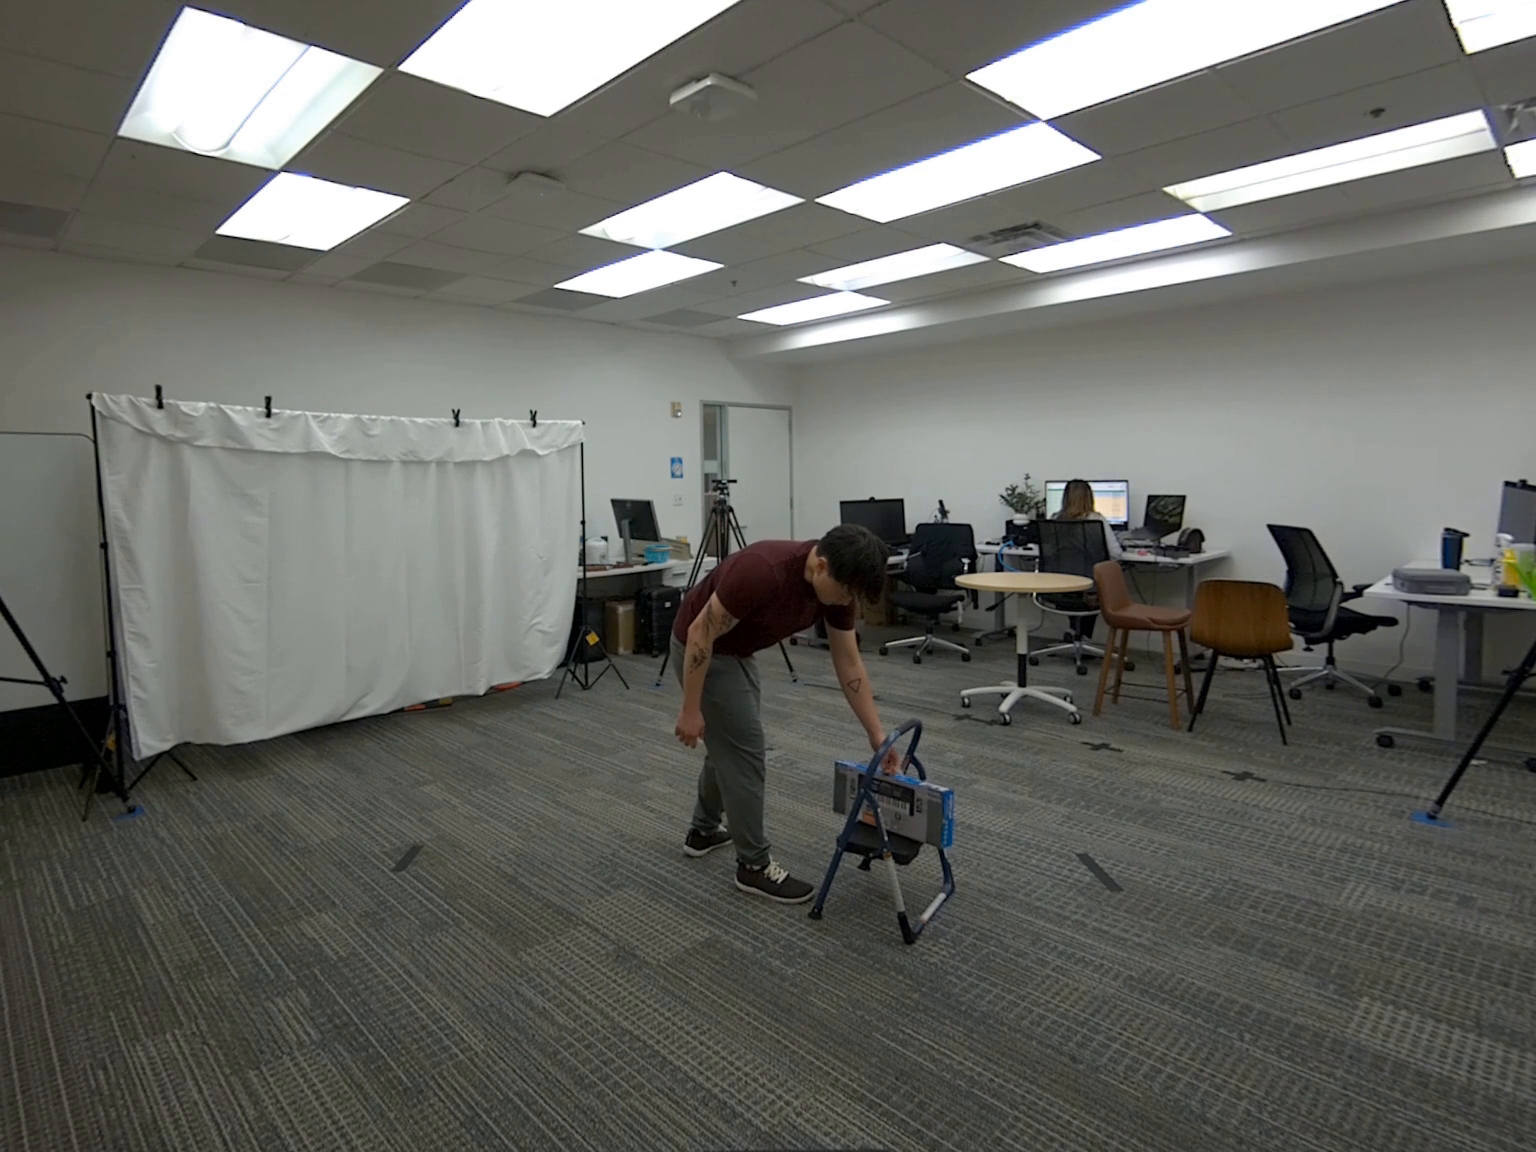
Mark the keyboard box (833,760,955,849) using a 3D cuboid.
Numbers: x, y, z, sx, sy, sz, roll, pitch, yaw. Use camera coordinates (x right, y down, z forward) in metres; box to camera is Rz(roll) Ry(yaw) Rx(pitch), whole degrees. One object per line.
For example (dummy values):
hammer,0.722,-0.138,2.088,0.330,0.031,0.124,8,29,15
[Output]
keyboard box,0.394,0.726,2.757,0.057,0.176,0.450,3,1,-43
